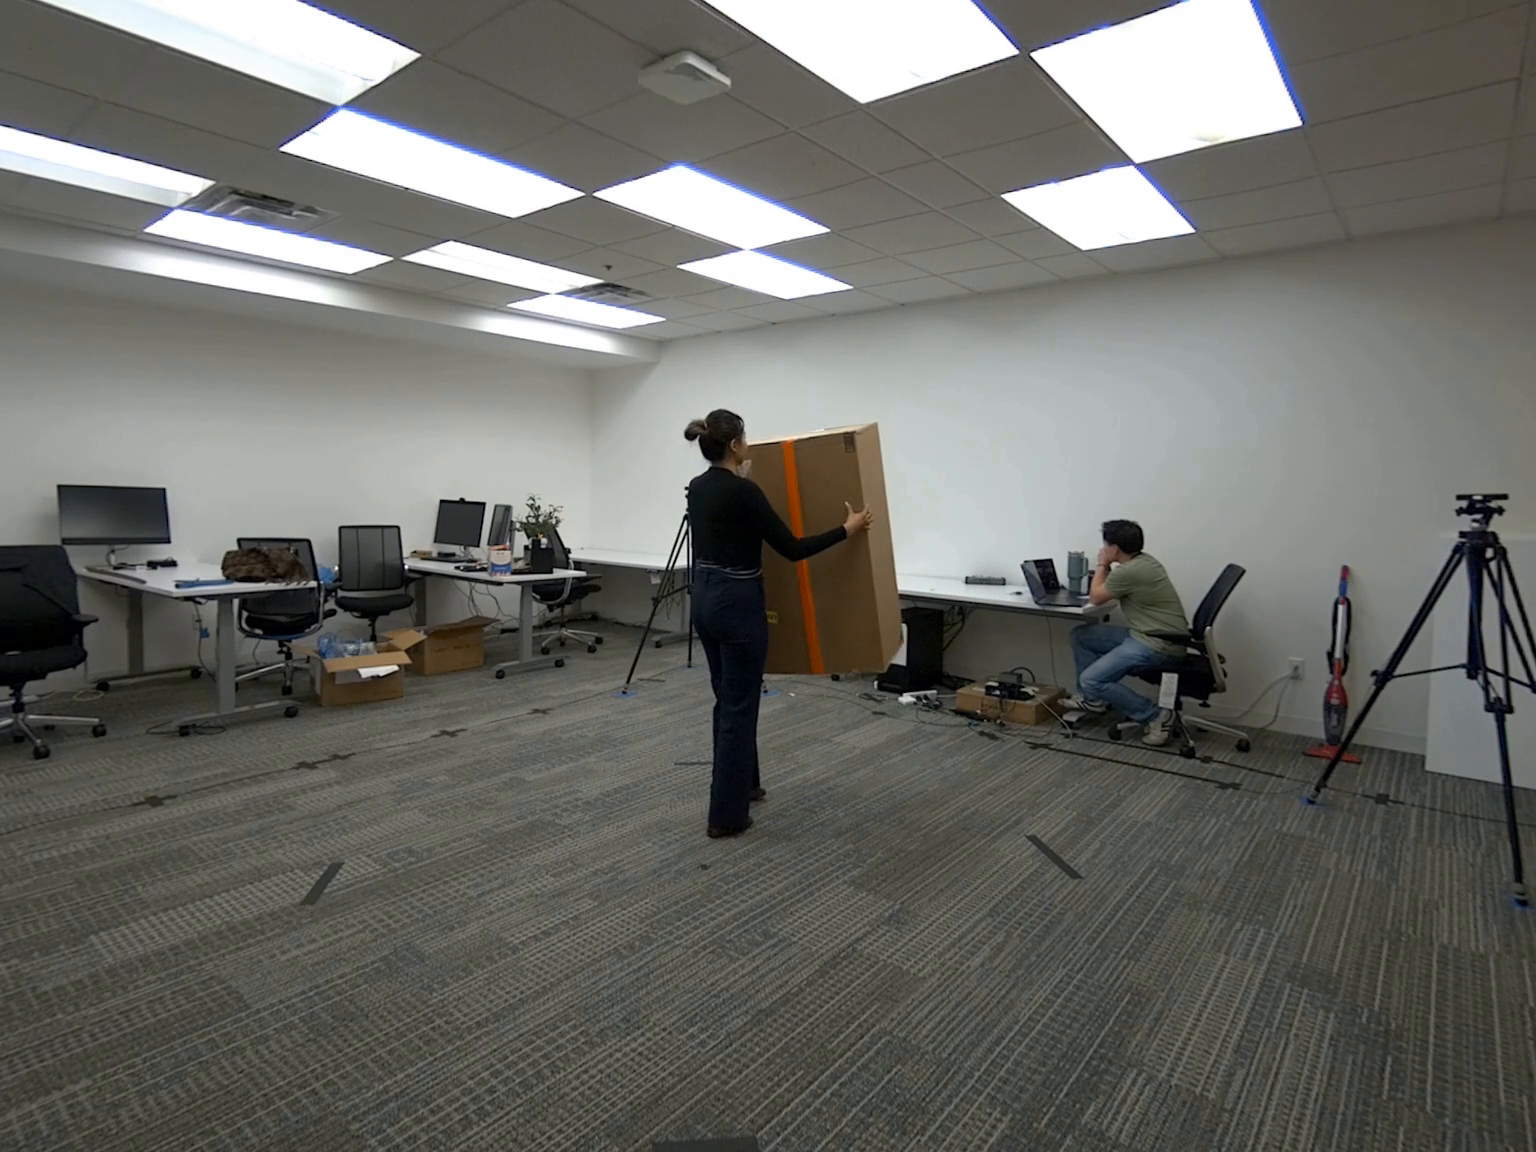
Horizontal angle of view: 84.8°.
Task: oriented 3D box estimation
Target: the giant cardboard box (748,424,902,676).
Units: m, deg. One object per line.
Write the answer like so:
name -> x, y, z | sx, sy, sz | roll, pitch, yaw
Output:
giant cardboard box -> 0.218, -0.122, 3.794 | 0.590, 1.016, 0.421 | -5, 10, 24
